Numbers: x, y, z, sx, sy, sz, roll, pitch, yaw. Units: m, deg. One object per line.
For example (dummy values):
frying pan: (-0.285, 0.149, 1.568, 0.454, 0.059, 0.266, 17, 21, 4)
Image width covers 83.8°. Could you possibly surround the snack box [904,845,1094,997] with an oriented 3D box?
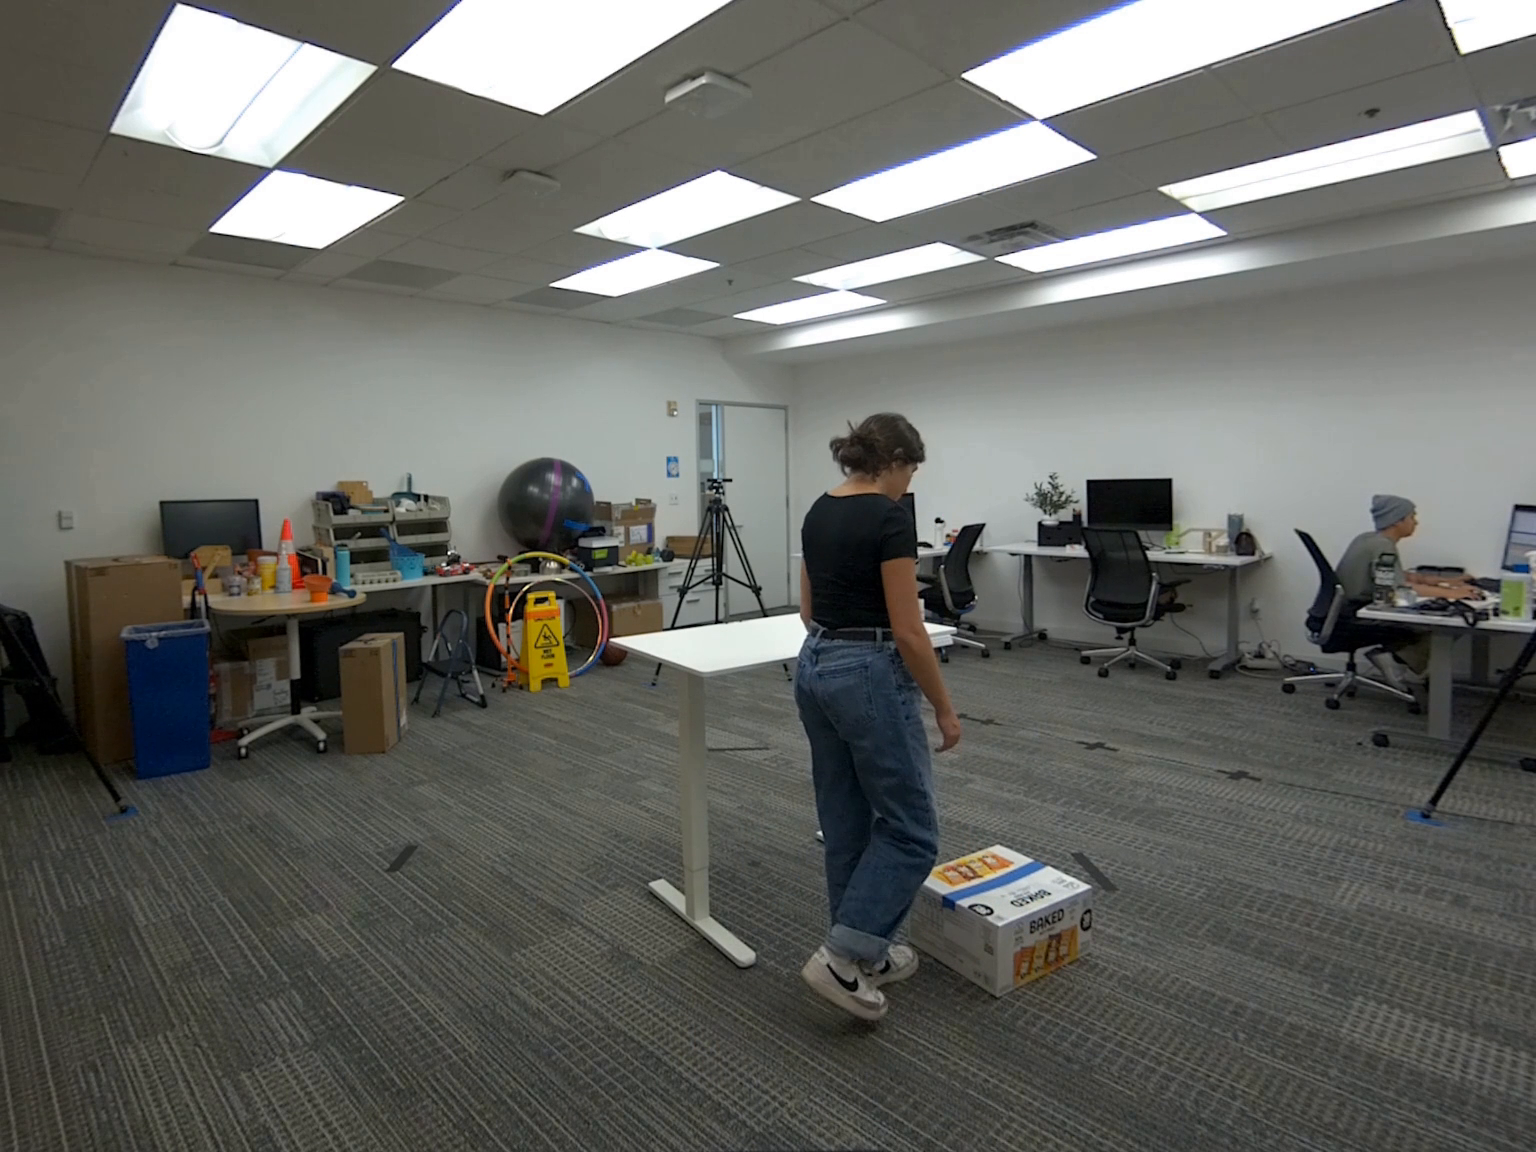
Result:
snack box: (0.689, 1.001, 2.515, 0.395, 0.205, 0.350, -5, 7, -33)
